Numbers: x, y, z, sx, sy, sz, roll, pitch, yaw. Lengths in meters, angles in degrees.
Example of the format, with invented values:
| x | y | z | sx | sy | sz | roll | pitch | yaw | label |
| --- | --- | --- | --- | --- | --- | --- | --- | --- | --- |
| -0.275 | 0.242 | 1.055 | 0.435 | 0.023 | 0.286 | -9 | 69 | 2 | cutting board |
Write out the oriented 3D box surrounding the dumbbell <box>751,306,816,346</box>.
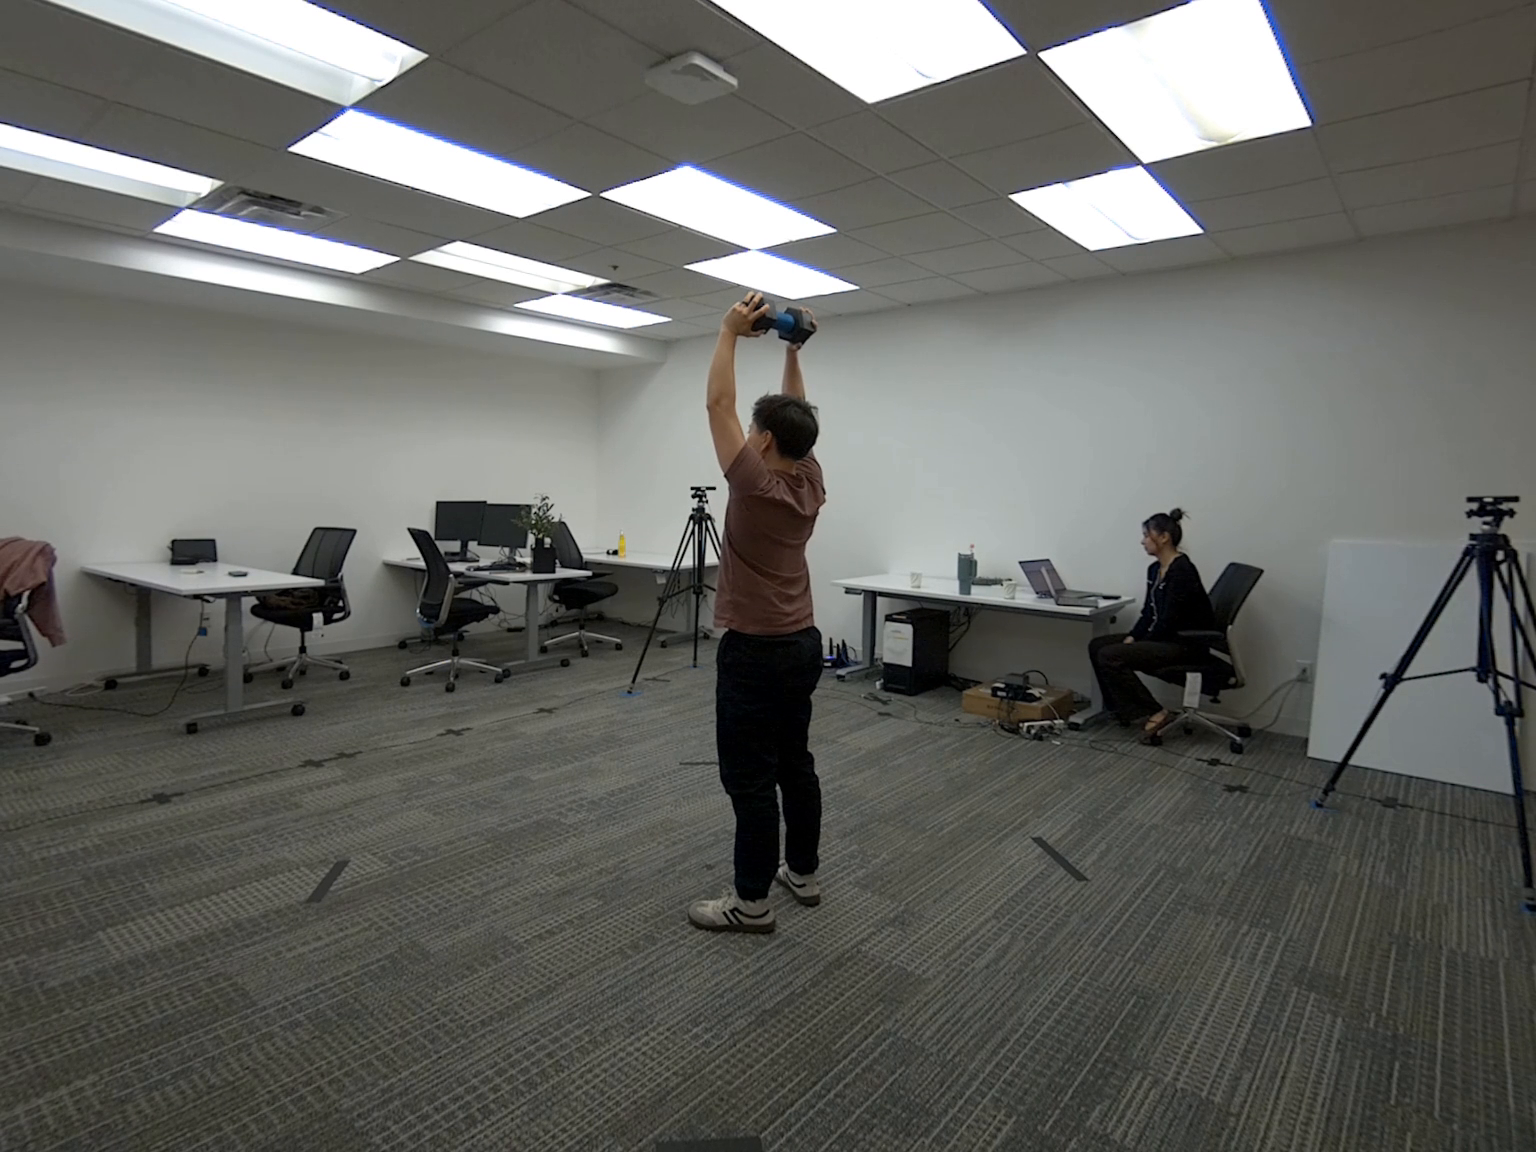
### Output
| x | y | z | sx | sy | sz | roll | pitch | yaw | label |
| --- | --- | --- | --- | --- | --- | --- | --- | --- | --- |
| 0.017 | -0.833 | 2.759 | 0.285 | 0.112 | 0.123 | -4 | -35 | -50 | dumbbell |
